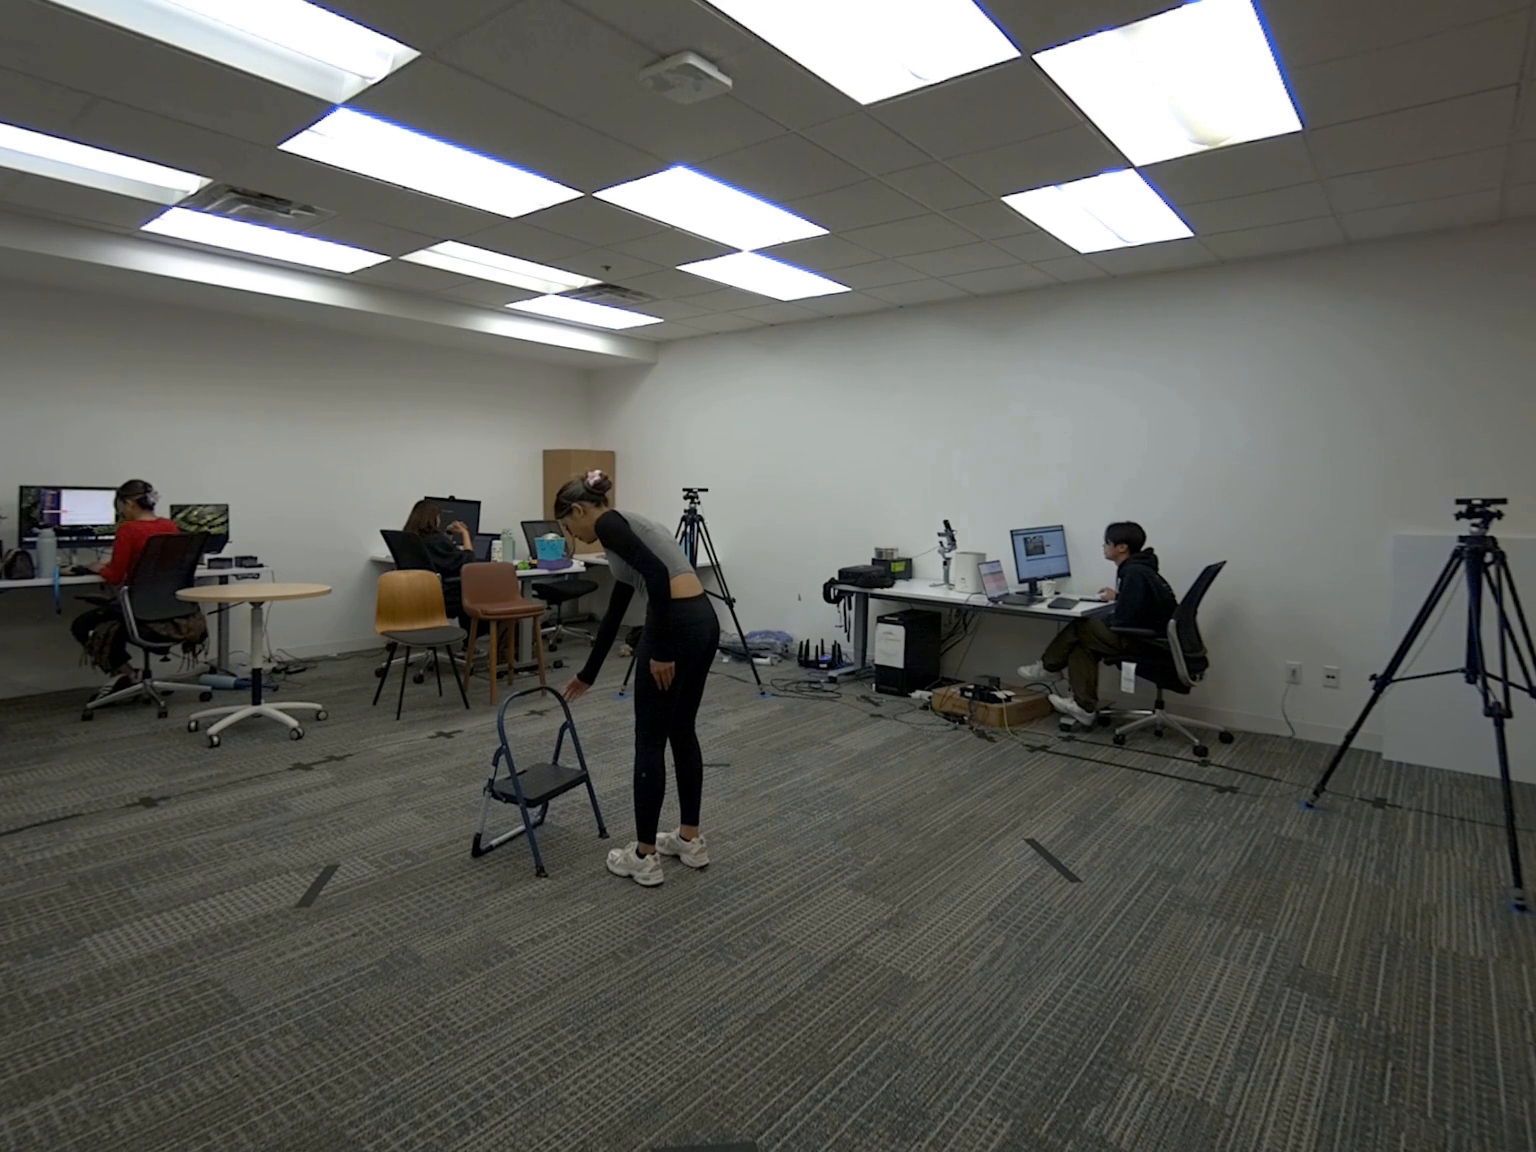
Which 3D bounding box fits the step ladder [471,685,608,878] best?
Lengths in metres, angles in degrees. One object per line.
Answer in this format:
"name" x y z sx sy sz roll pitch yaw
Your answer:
"step ladder" -0.878 0.740 3.270 0.358 0.605 0.421 2 3 24
